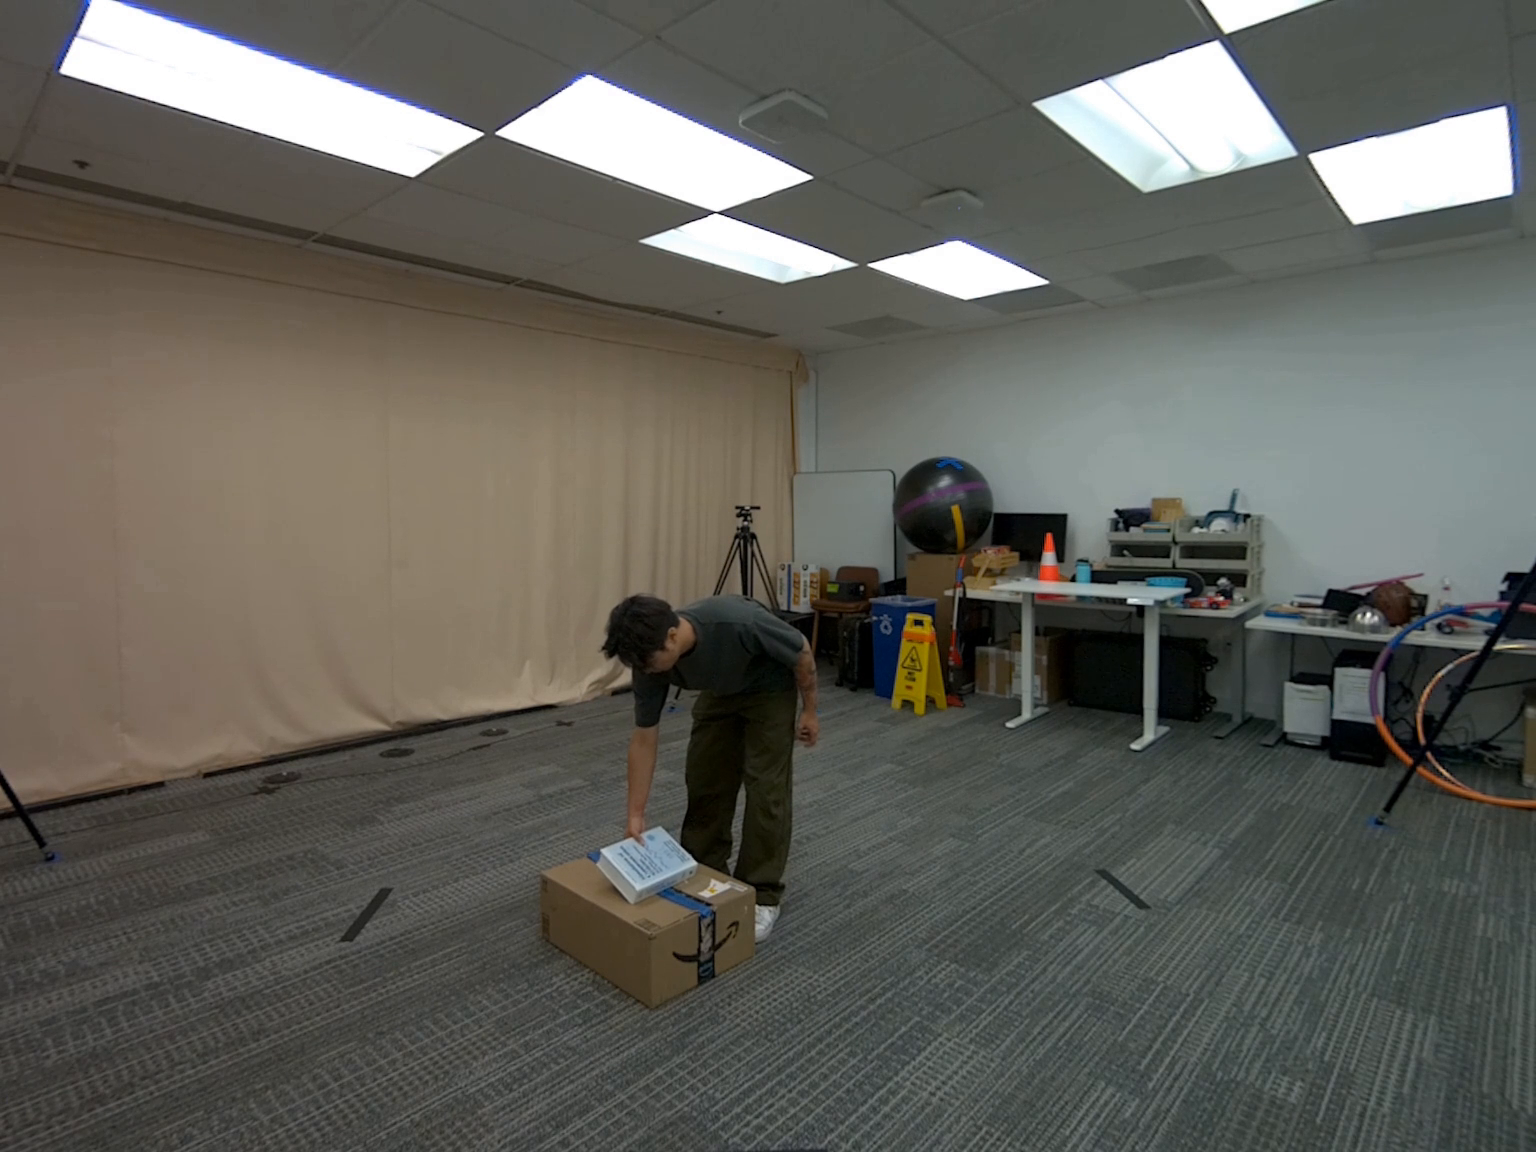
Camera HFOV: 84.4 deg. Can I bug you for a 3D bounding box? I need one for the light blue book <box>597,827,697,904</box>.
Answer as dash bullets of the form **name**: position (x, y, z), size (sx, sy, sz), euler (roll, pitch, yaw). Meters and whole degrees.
- **light blue book**: position (-0.375, 0.904, 2.629), size (0.198, 0.059, 0.253), euler (32, 23, 35)
